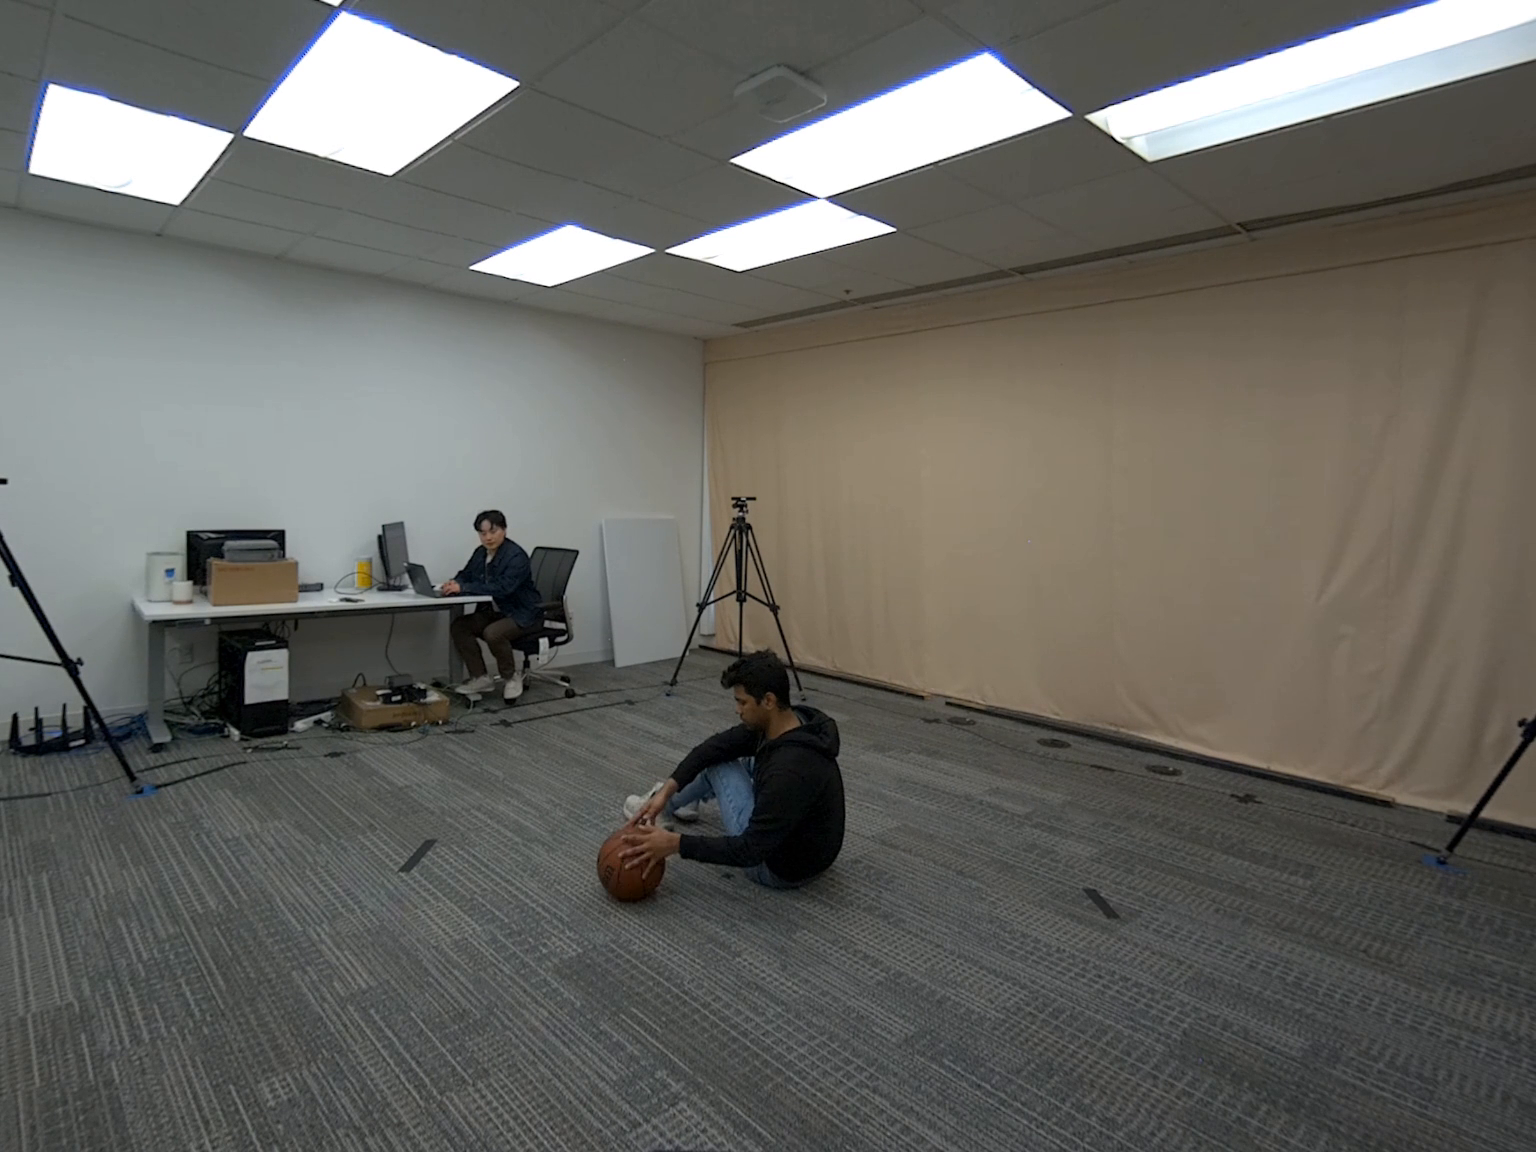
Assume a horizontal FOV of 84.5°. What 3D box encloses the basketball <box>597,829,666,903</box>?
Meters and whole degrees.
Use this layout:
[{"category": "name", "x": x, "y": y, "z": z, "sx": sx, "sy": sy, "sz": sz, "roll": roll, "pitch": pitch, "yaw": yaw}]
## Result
[{"category": "basketball", "x": -0.477, "y": 0.949, "z": 2.936, "sx": 0.236, "sy": 0.235, "sz": 0.237, "roll": 1, "pitch": 4, "yaw": -1}]
